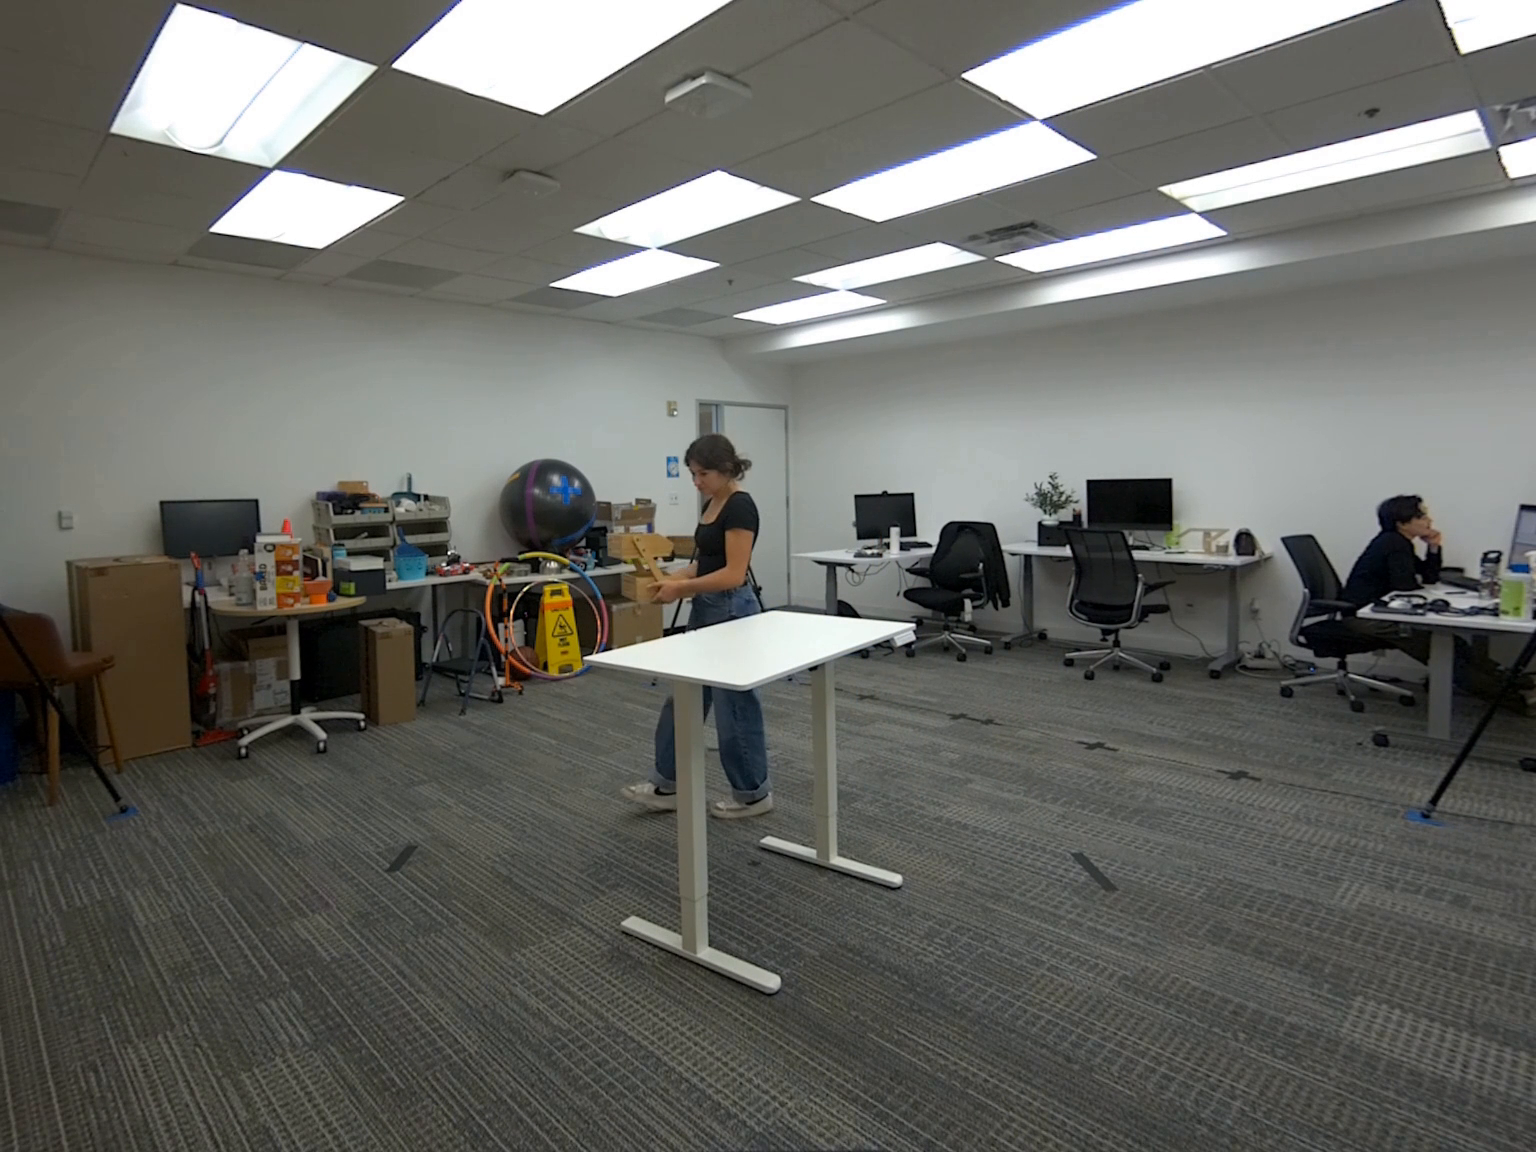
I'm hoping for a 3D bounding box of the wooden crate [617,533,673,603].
[{"bbox_3d":[-0.470,-0.052,3.450,0.297,0.272,0.331,-4,4,-20],"label":"wooden crate"}]
